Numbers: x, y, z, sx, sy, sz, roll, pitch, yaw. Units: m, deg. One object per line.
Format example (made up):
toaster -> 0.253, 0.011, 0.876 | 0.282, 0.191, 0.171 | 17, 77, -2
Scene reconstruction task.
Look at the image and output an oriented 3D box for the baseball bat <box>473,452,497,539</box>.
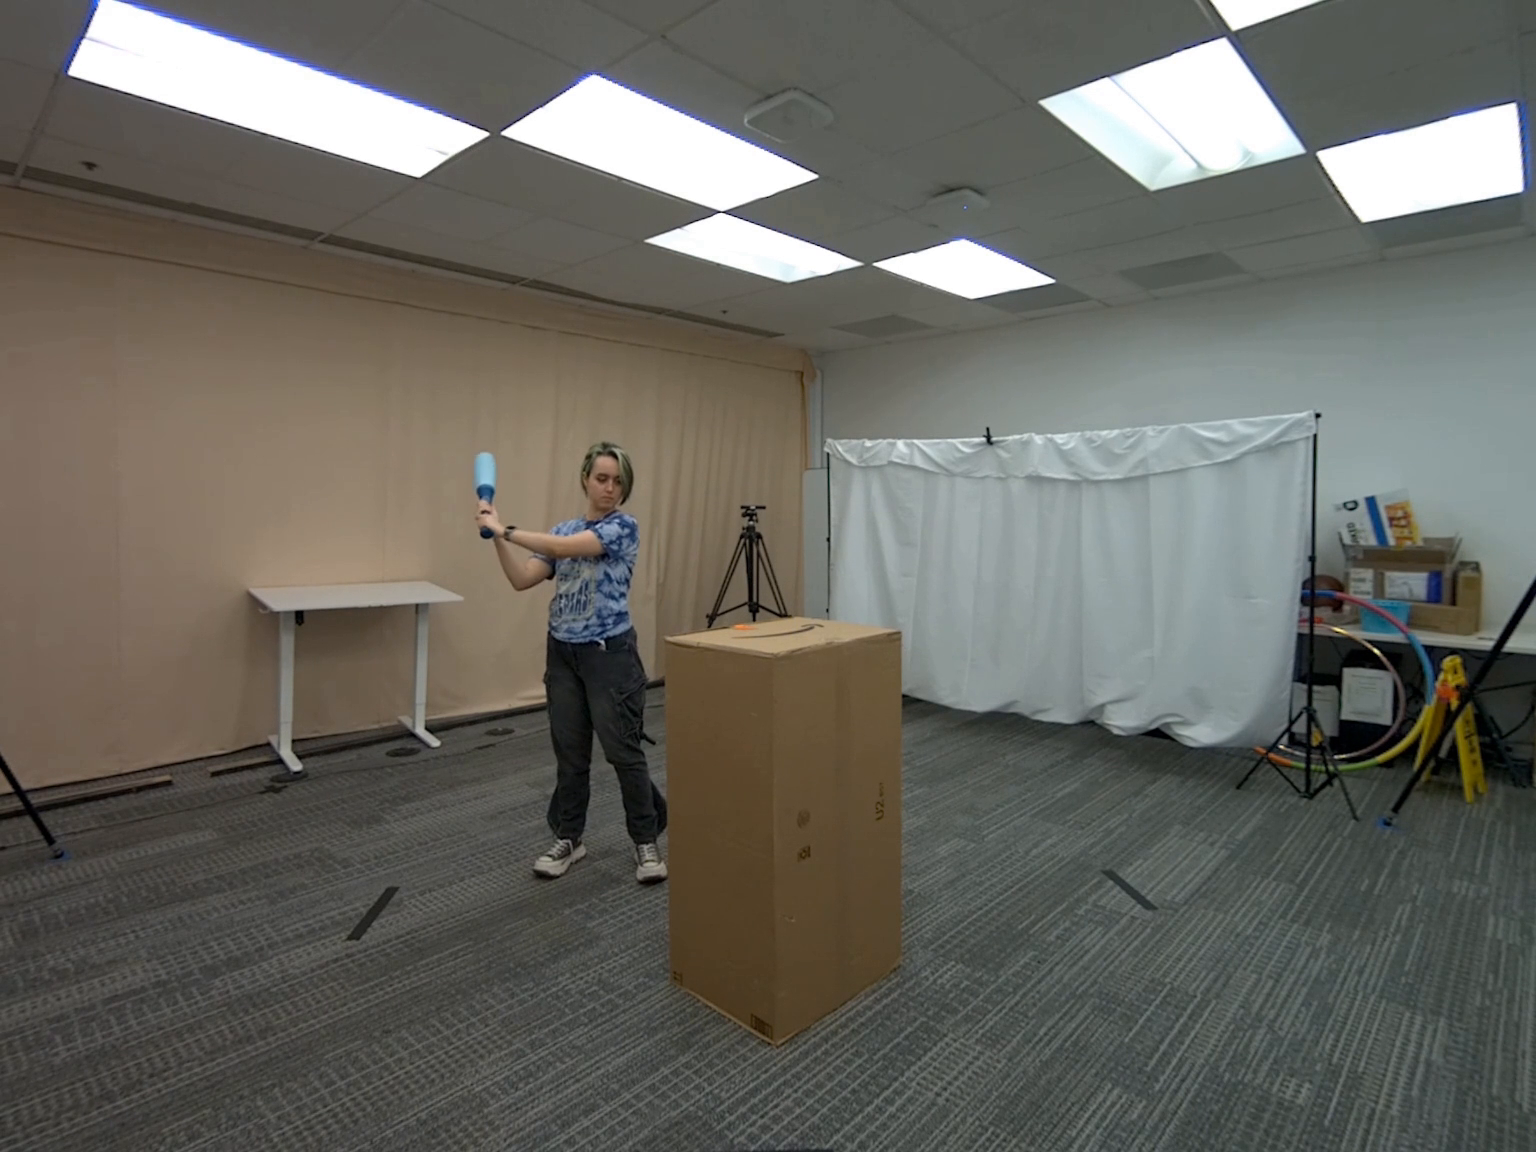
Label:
baseball bat -> -1.074, -0.300, 3.237 | 0.087, 0.088, 0.559 | -2, 37, -20
